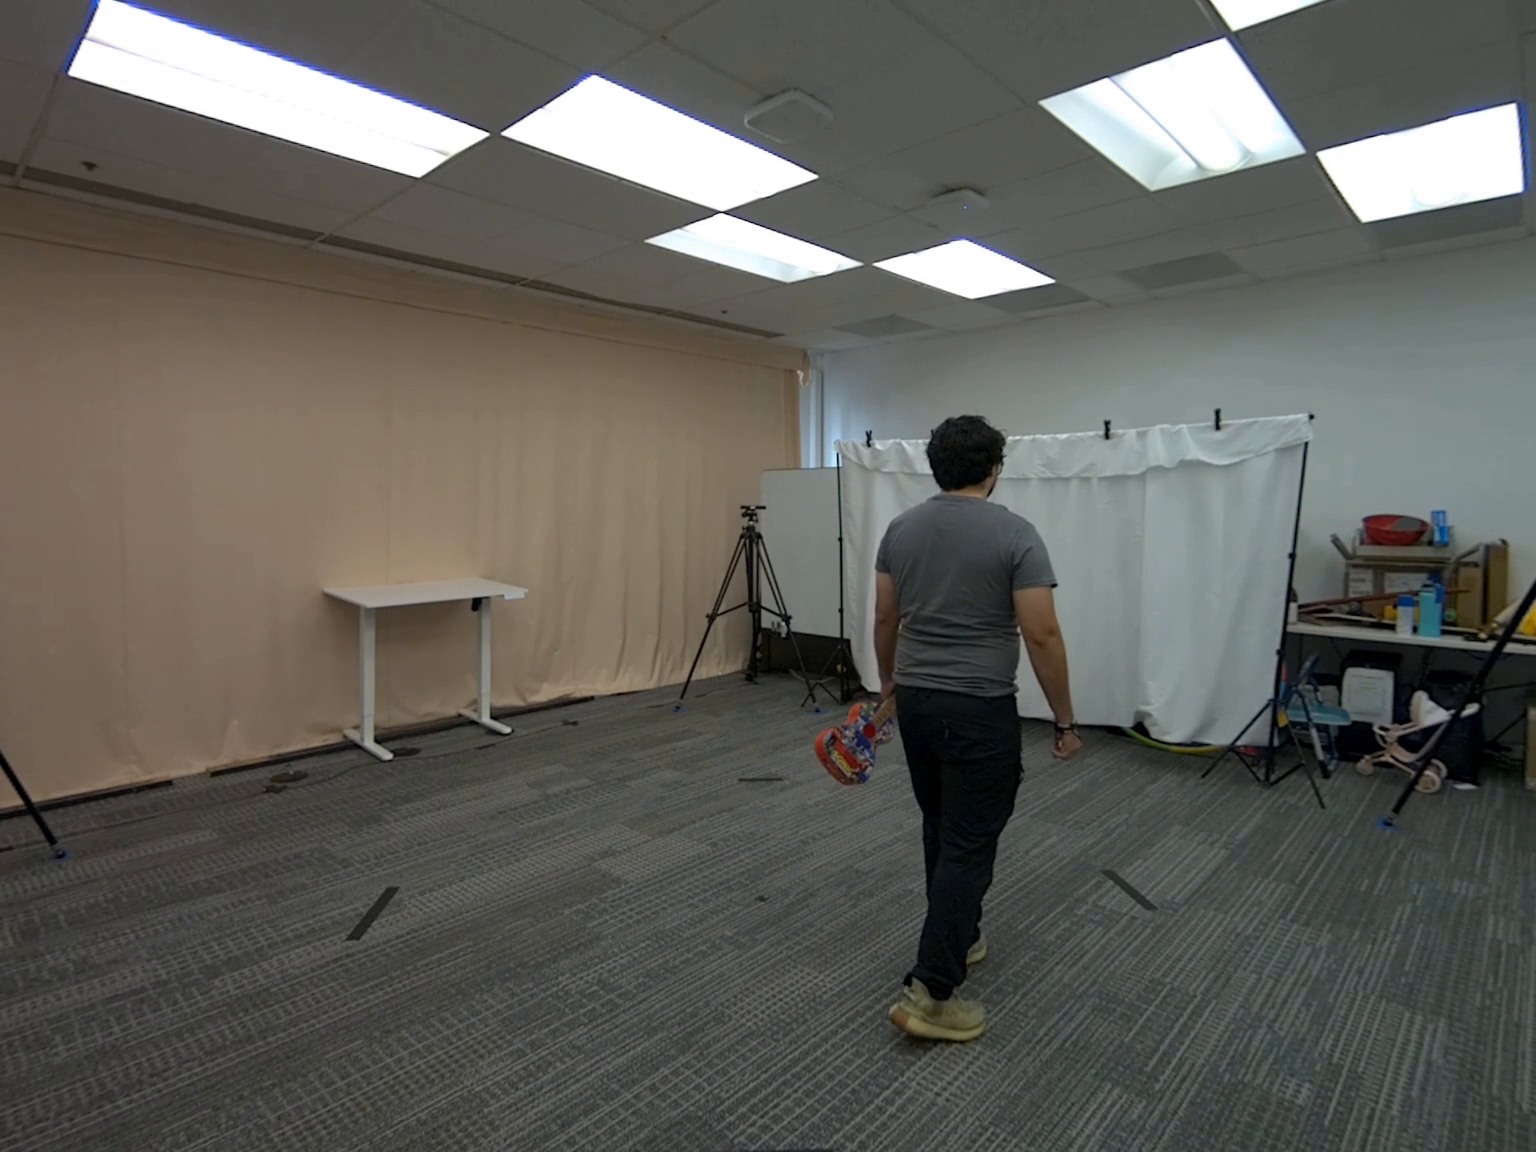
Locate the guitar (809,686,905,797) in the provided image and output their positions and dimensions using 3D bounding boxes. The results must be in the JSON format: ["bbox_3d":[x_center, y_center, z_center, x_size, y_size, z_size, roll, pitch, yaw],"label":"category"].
[{"bbox_3d":[0.380,0.469,2.709,0.491,0.194,0.071,-33,-3,-26],"label":"guitar"}]
